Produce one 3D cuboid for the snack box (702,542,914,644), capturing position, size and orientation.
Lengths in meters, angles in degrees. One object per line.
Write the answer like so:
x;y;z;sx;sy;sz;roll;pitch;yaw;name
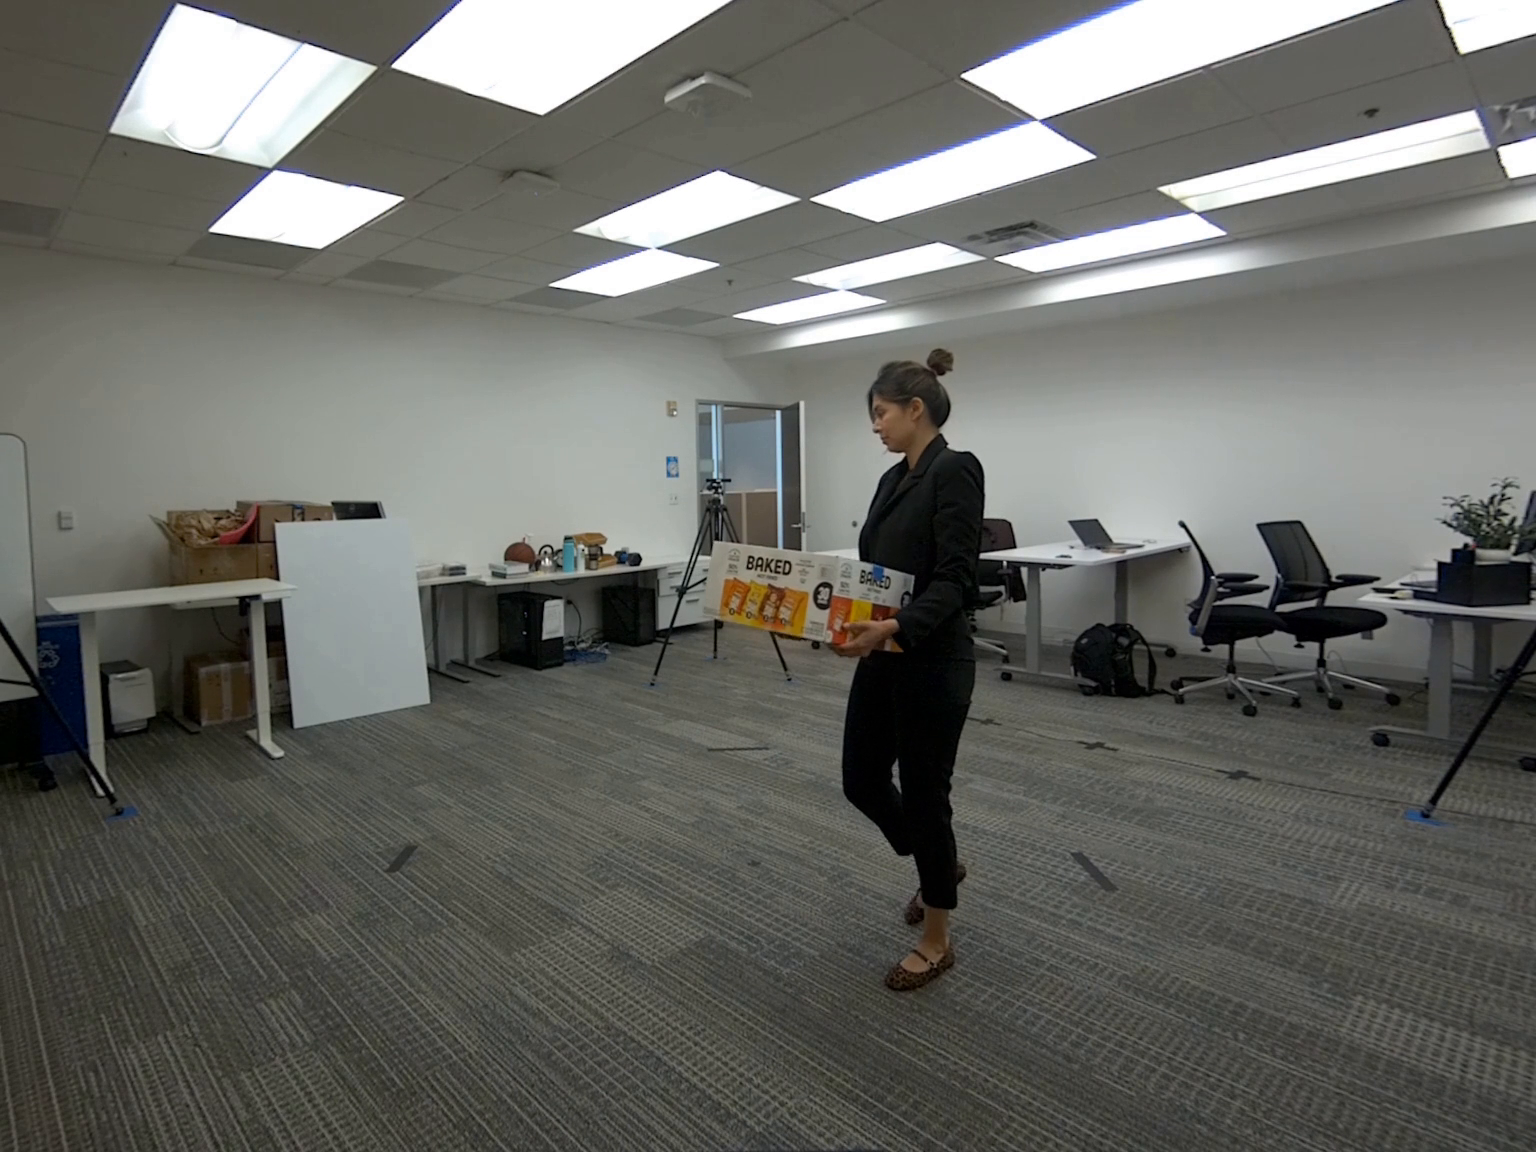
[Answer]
0.106;0.053;2.212;0.418;0.206;0.328;8;-4;43;snack box
